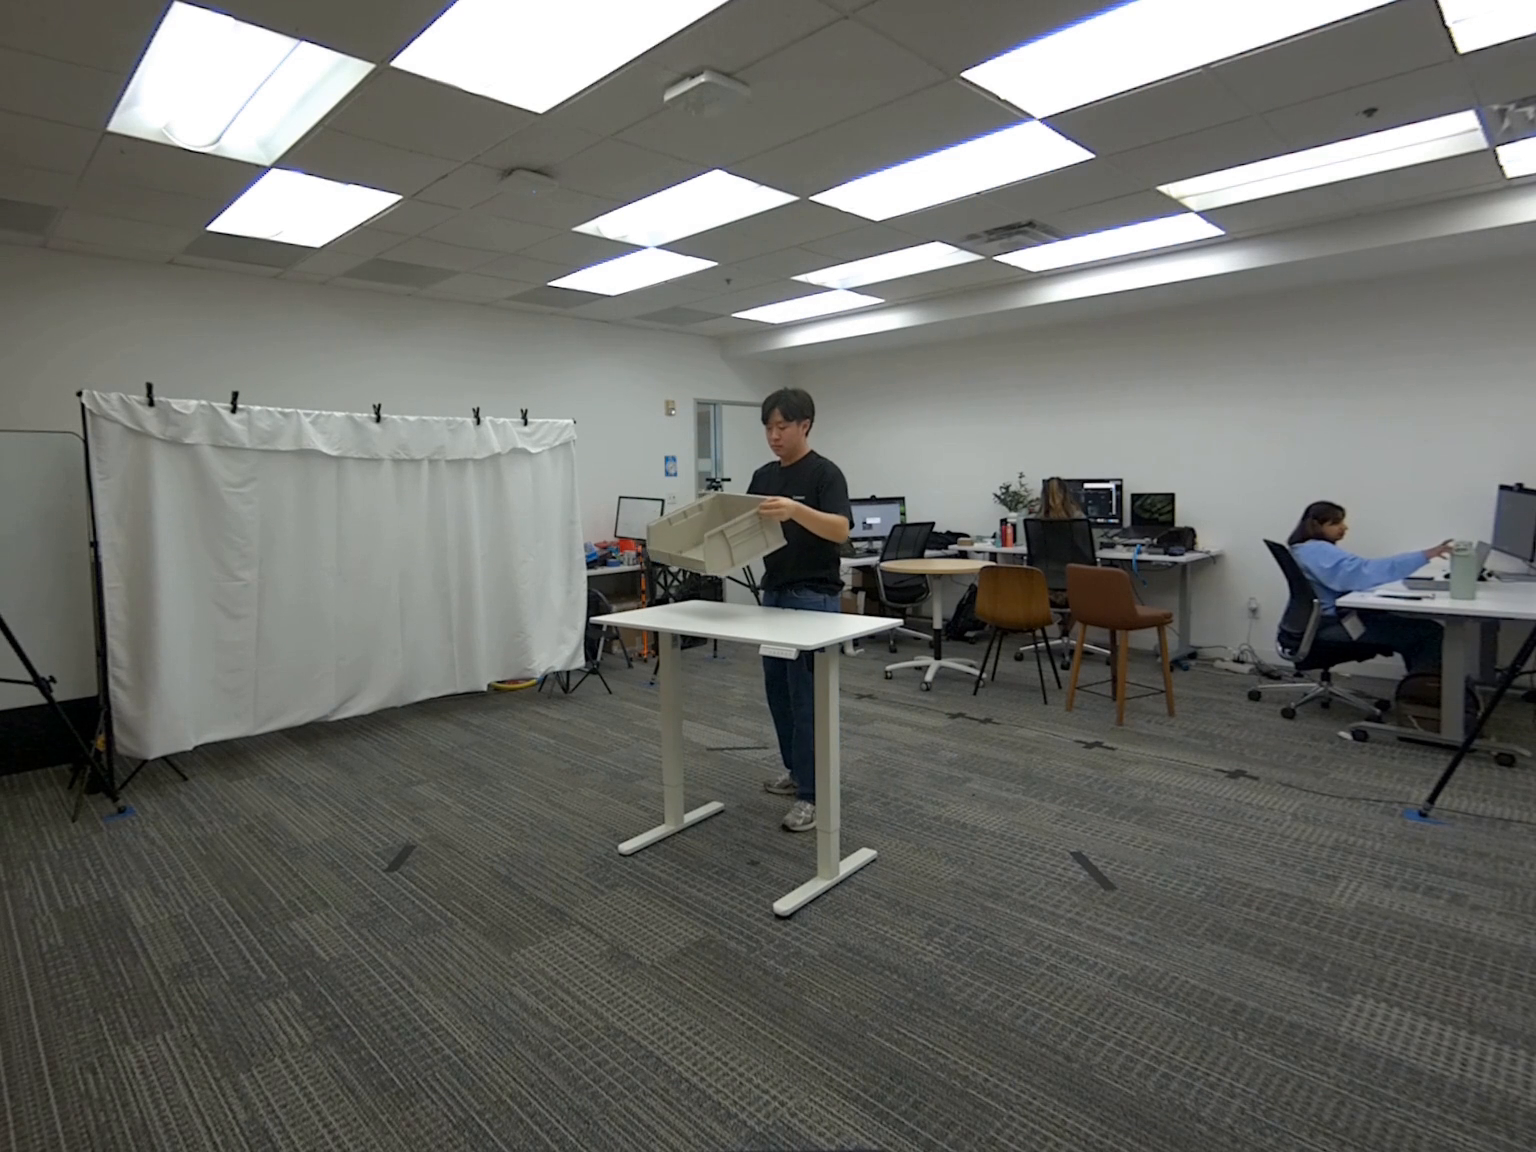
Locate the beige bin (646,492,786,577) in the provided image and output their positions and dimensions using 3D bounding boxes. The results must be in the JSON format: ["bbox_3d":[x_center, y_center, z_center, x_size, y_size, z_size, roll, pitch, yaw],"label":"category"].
[{"bbox_3d":[-0.201,-0.159,3.242,0.373,0.185,0.436,-28,22,-29],"label":"beige bin"}]
